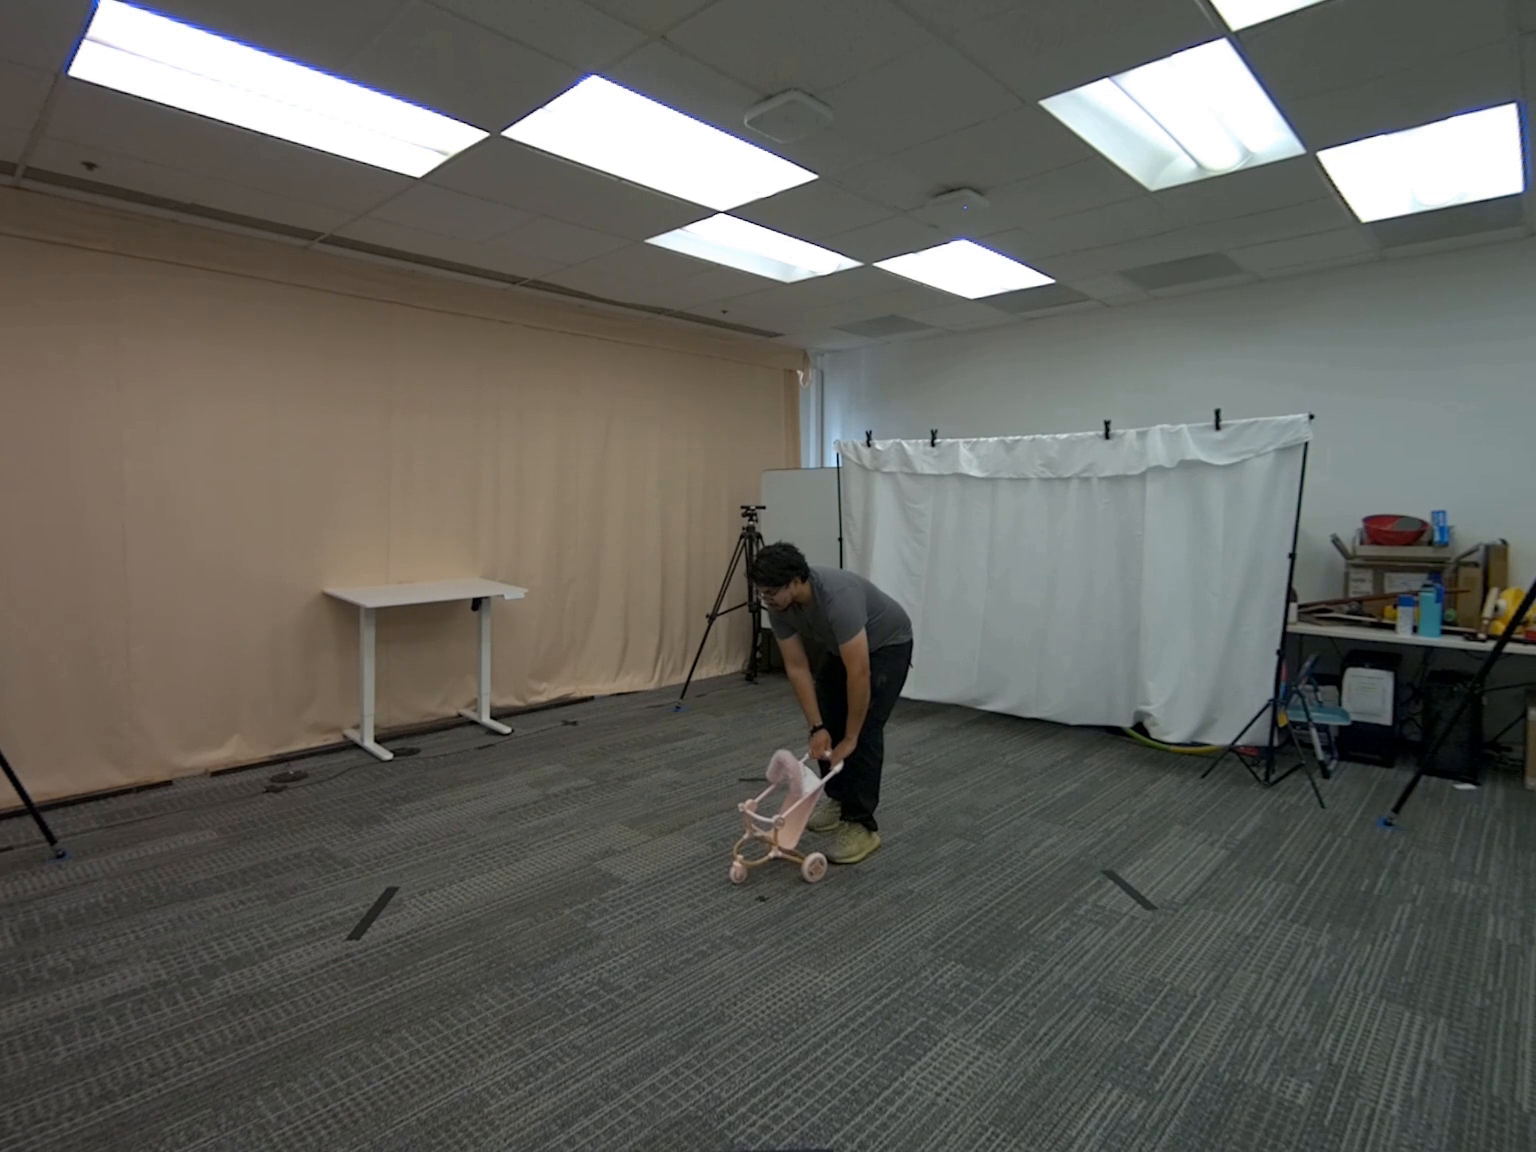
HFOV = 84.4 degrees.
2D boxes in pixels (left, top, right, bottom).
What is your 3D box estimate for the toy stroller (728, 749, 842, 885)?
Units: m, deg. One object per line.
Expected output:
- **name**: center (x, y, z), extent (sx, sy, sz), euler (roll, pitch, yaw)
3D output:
- **toy stroller**: center (0.053, 0.900, 3.184), extent (0.332, 0.535, 0.289), euler (17, -4, -26)
